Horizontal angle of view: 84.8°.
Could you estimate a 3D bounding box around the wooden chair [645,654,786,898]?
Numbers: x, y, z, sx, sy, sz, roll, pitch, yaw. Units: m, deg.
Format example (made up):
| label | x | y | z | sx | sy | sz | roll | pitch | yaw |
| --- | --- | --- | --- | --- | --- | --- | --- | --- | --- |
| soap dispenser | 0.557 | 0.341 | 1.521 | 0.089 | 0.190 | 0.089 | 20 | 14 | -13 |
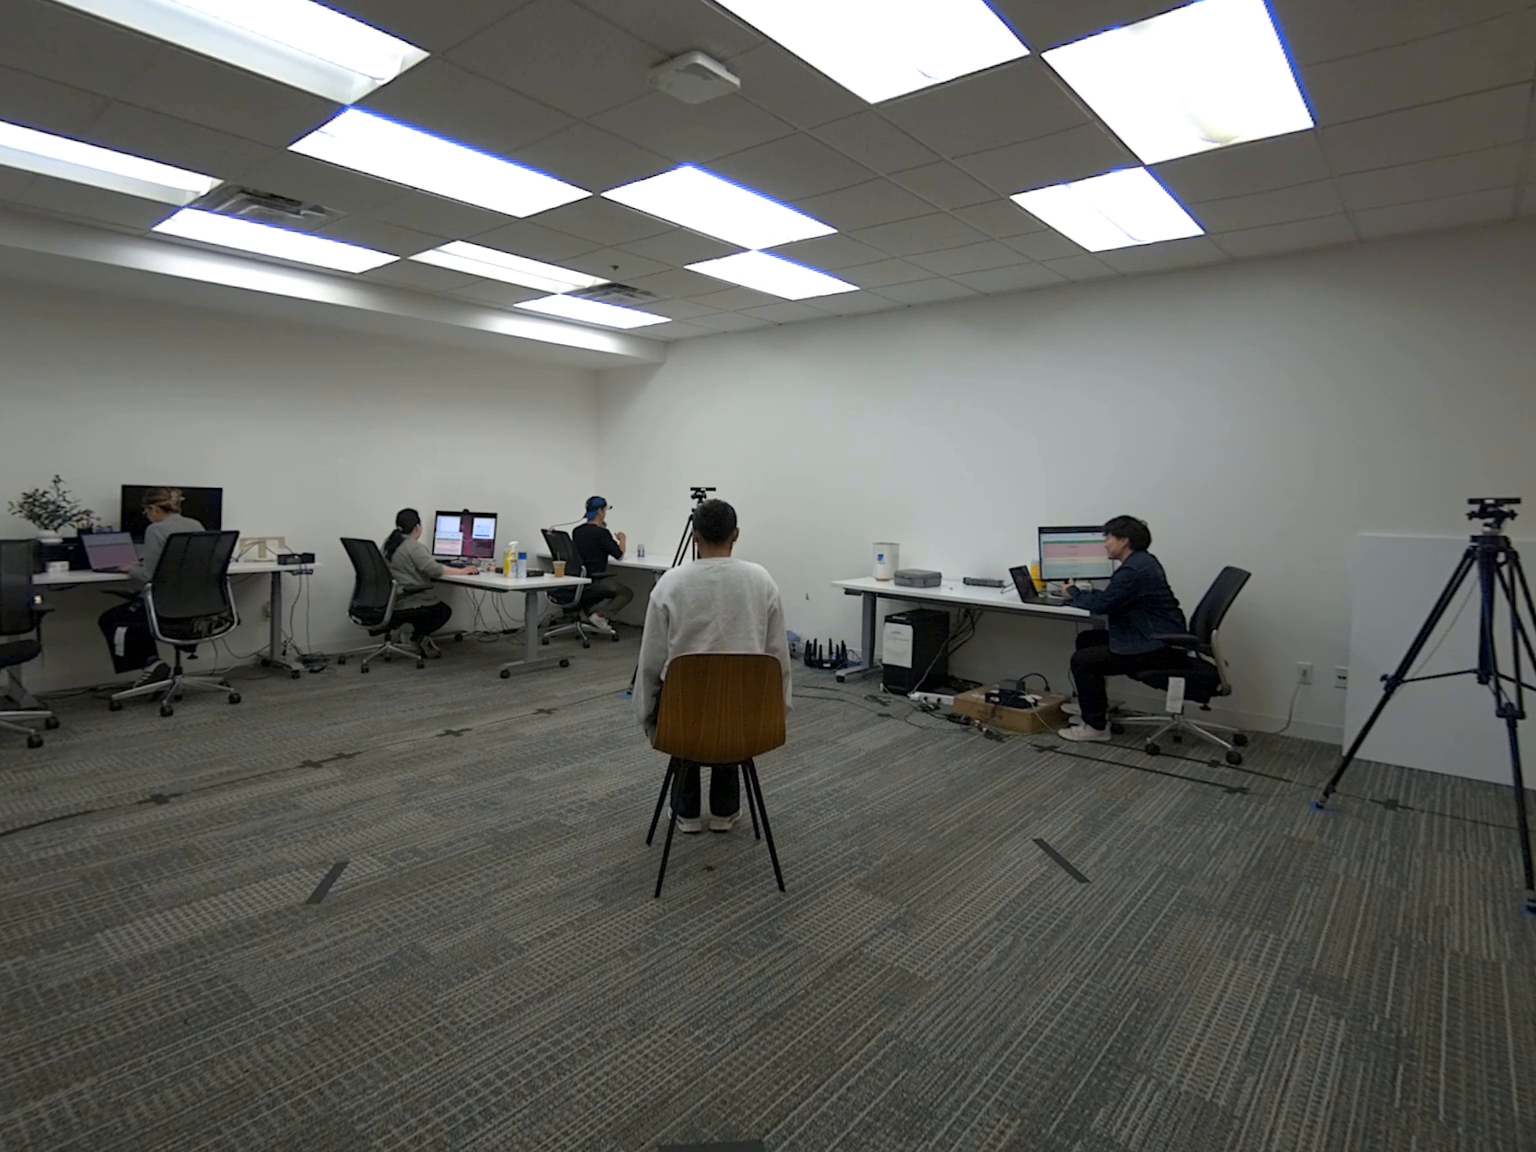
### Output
| label | x | y | z | sx | sy | sz | roll | pitch | yaw |
| --- | --- | --- | --- | --- | --- | --- | --- | --- | --- |
| wooden chair | -0.207 | 0.640 | 3.110 | 0.473 | 0.872 | 0.532 | 0 | 7 | -11 |
